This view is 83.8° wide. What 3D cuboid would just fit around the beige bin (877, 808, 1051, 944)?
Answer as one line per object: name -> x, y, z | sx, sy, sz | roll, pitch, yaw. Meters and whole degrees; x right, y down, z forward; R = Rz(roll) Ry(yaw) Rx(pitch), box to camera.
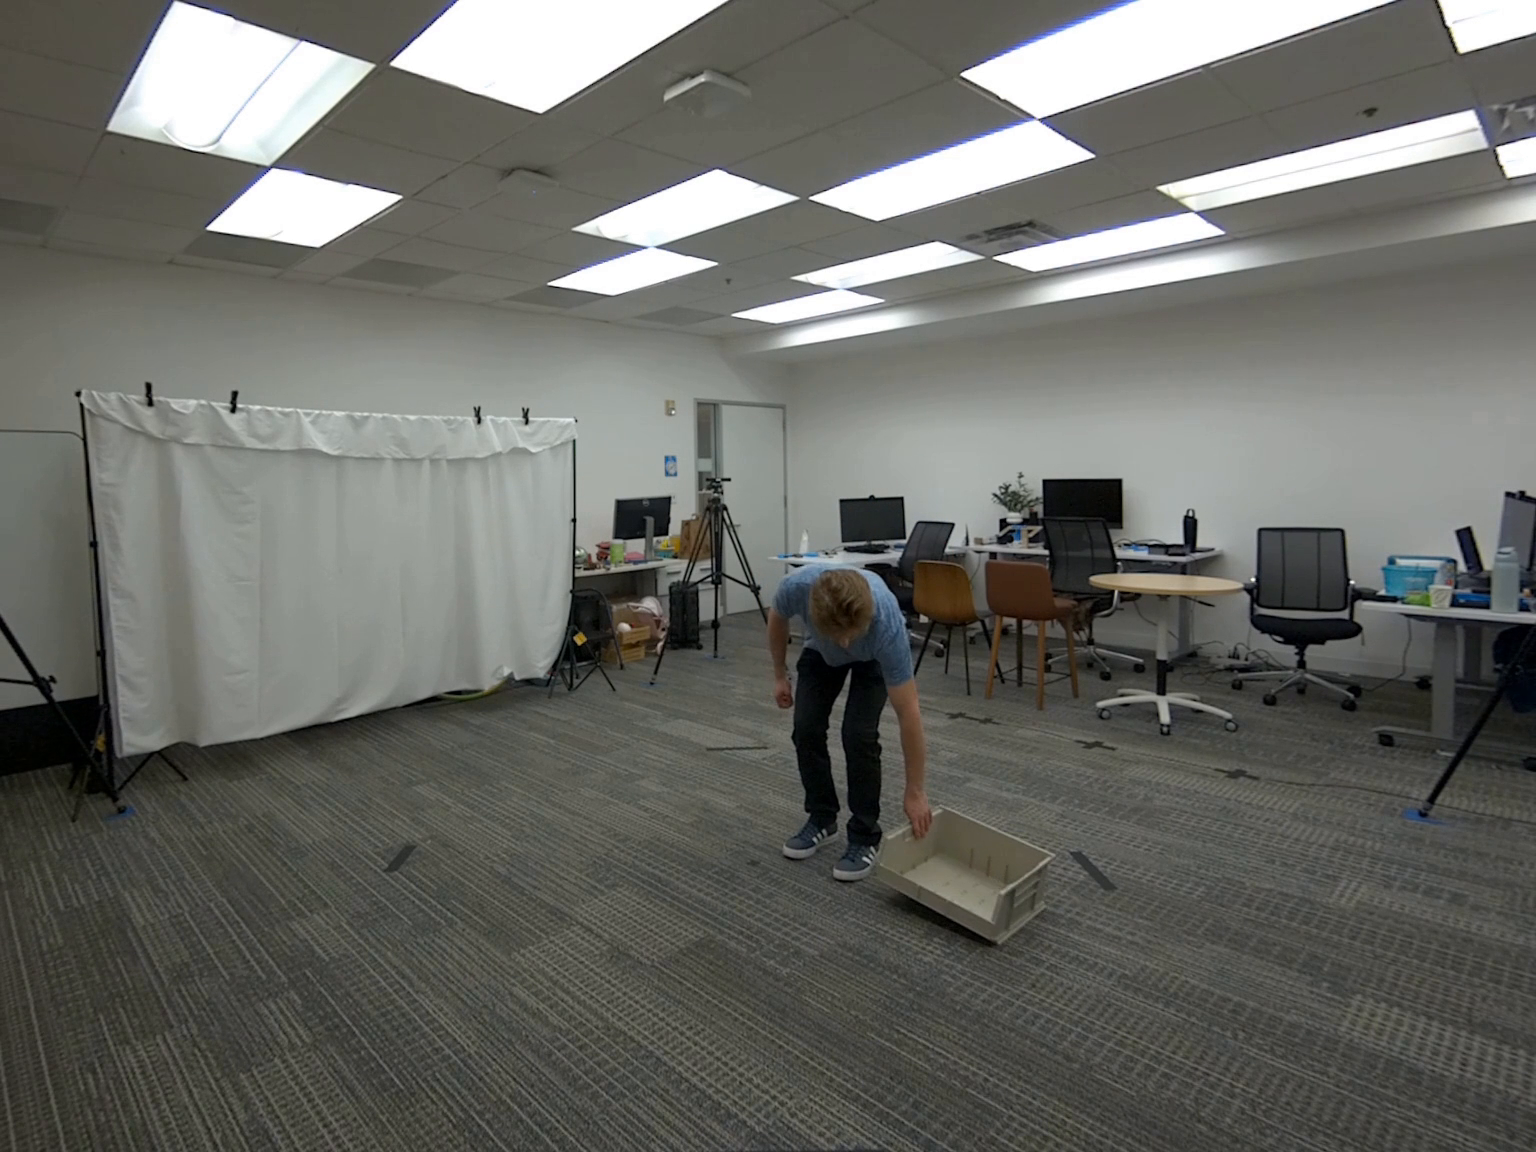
beige bin -> 0.631, 0.954, 2.754 | 0.437, 0.188, 0.367 | 13, 12, 43
